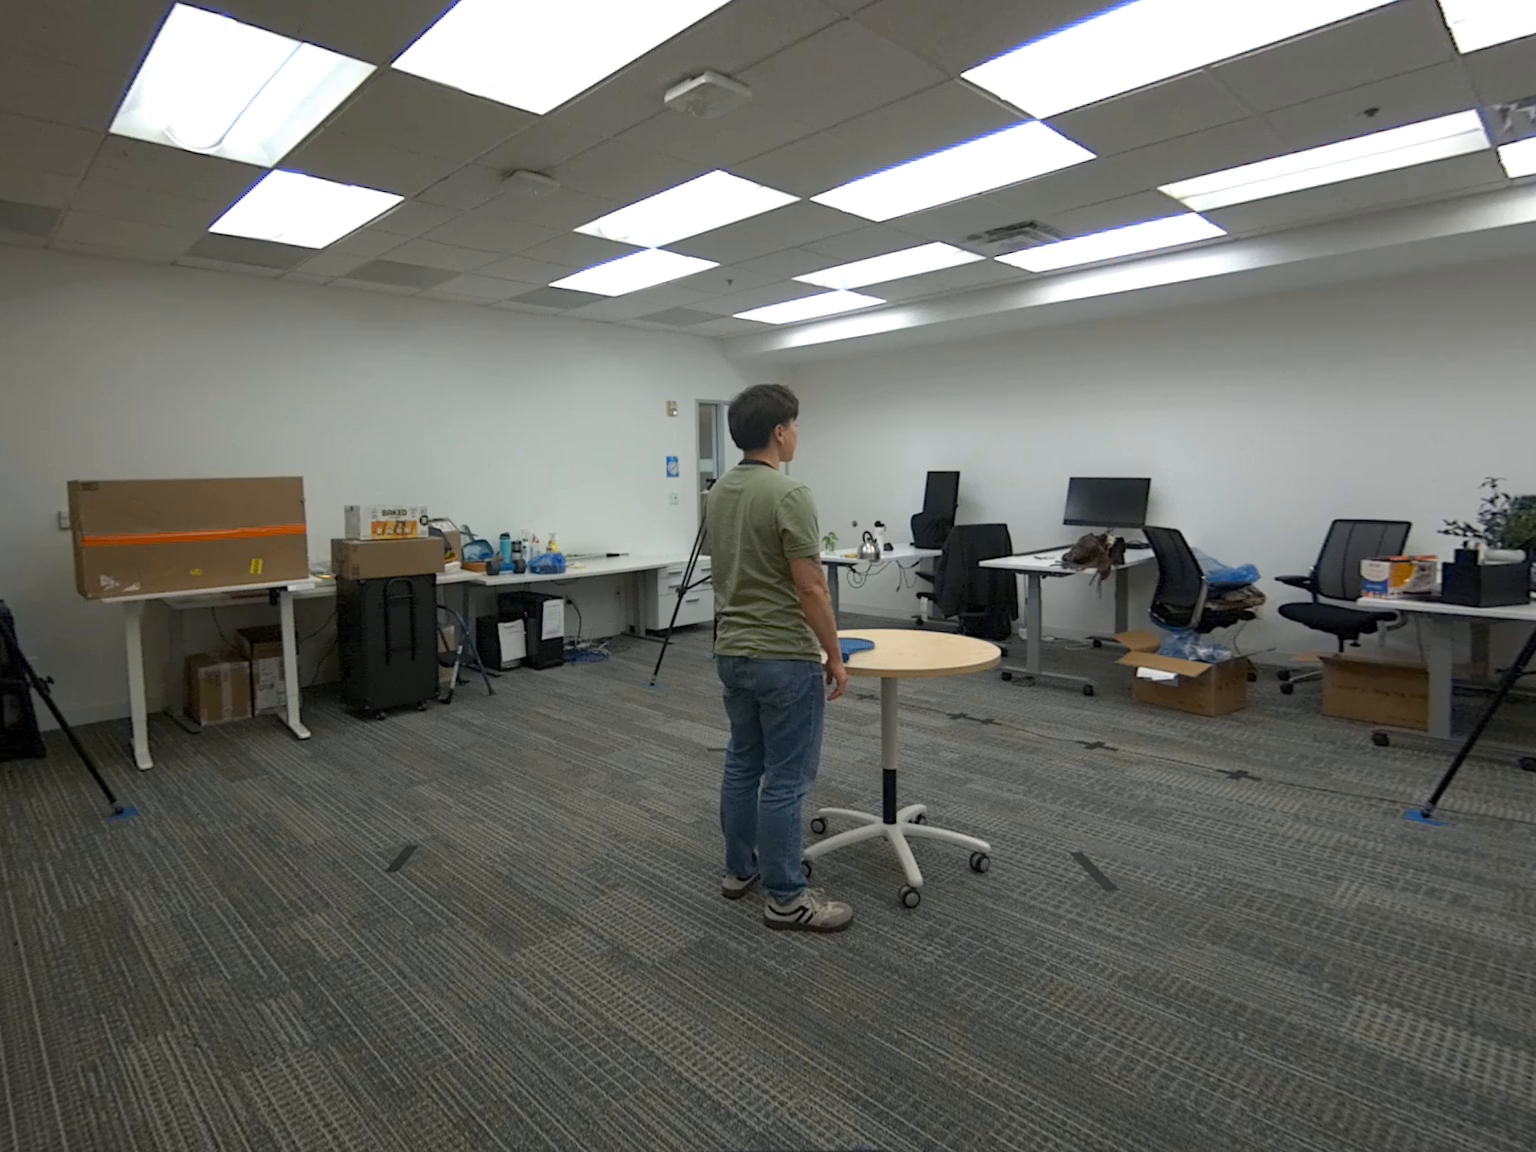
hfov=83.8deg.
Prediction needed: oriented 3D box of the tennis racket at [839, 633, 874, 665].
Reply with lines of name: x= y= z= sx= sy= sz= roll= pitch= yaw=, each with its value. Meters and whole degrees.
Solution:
tennis racket: x=0.259 y=0.251 z=3.014 sx=0.216 sy=0.031 sz=0.430 roll=0 pitch=5 yaw=8
